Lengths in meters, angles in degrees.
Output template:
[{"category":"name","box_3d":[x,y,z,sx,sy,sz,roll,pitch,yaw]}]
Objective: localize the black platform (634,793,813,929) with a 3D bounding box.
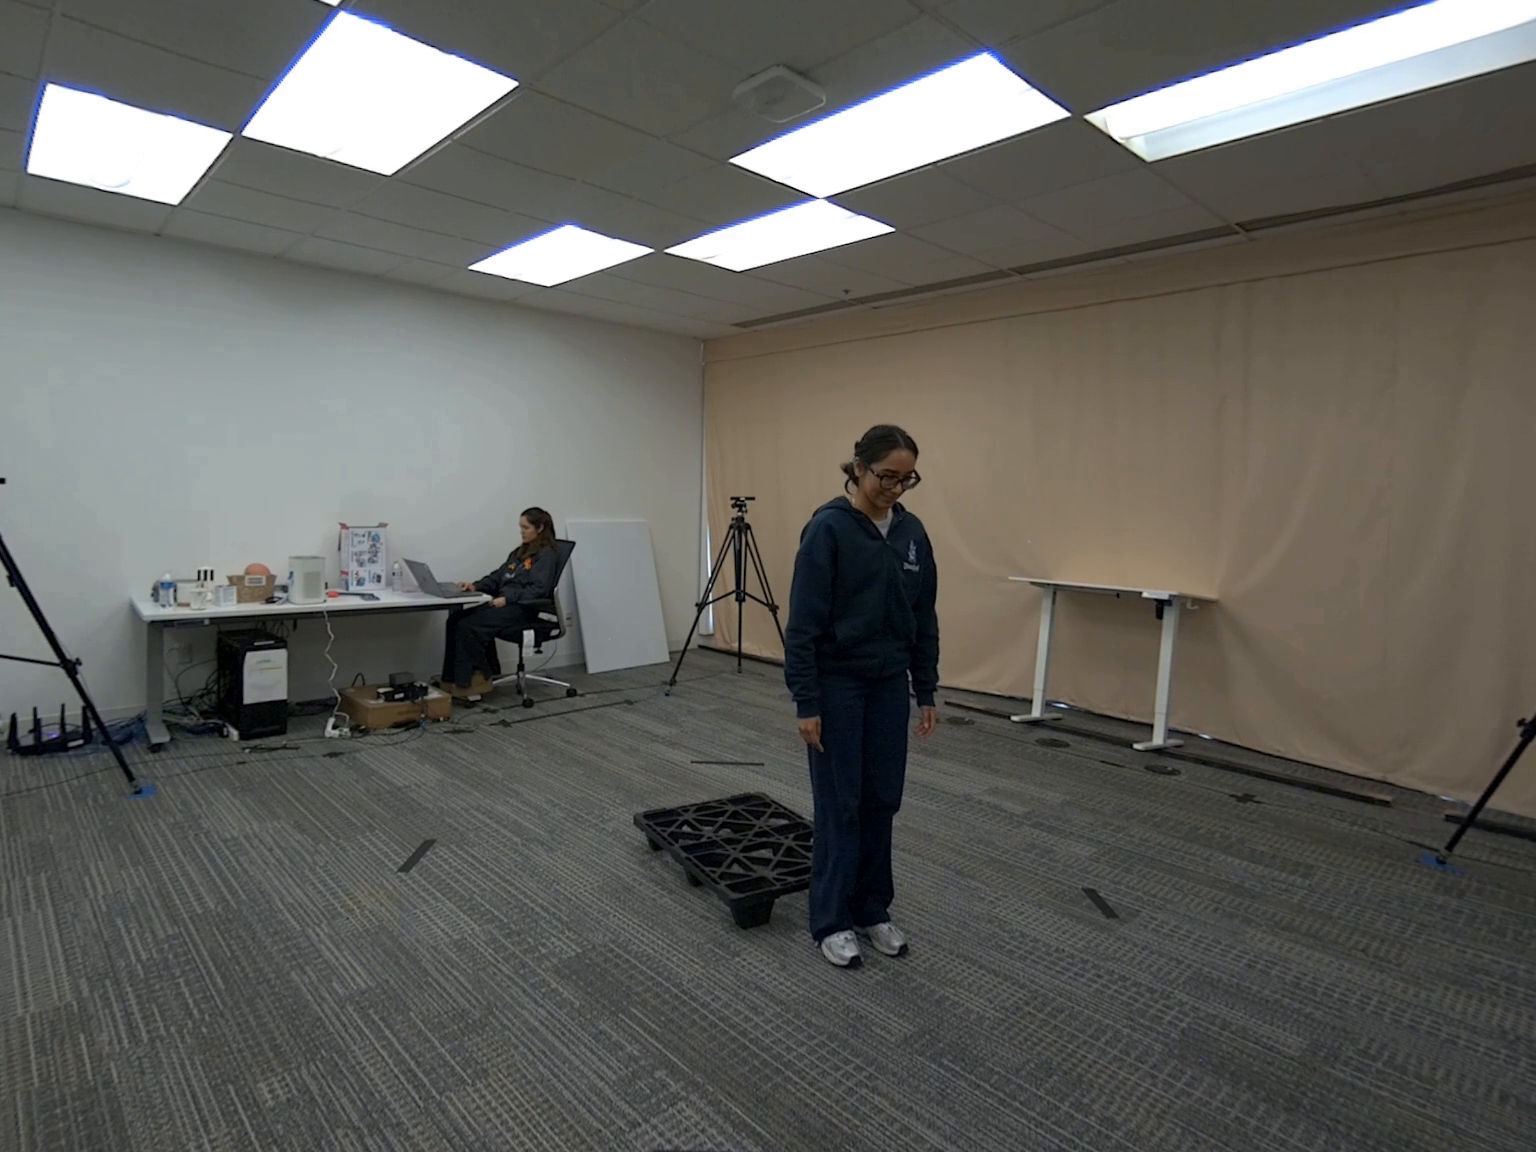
[{"category":"black platform","box_3d":[-0.083,1.038,3.149,0.592,0.143,0.825,-1,6,-32]}]
